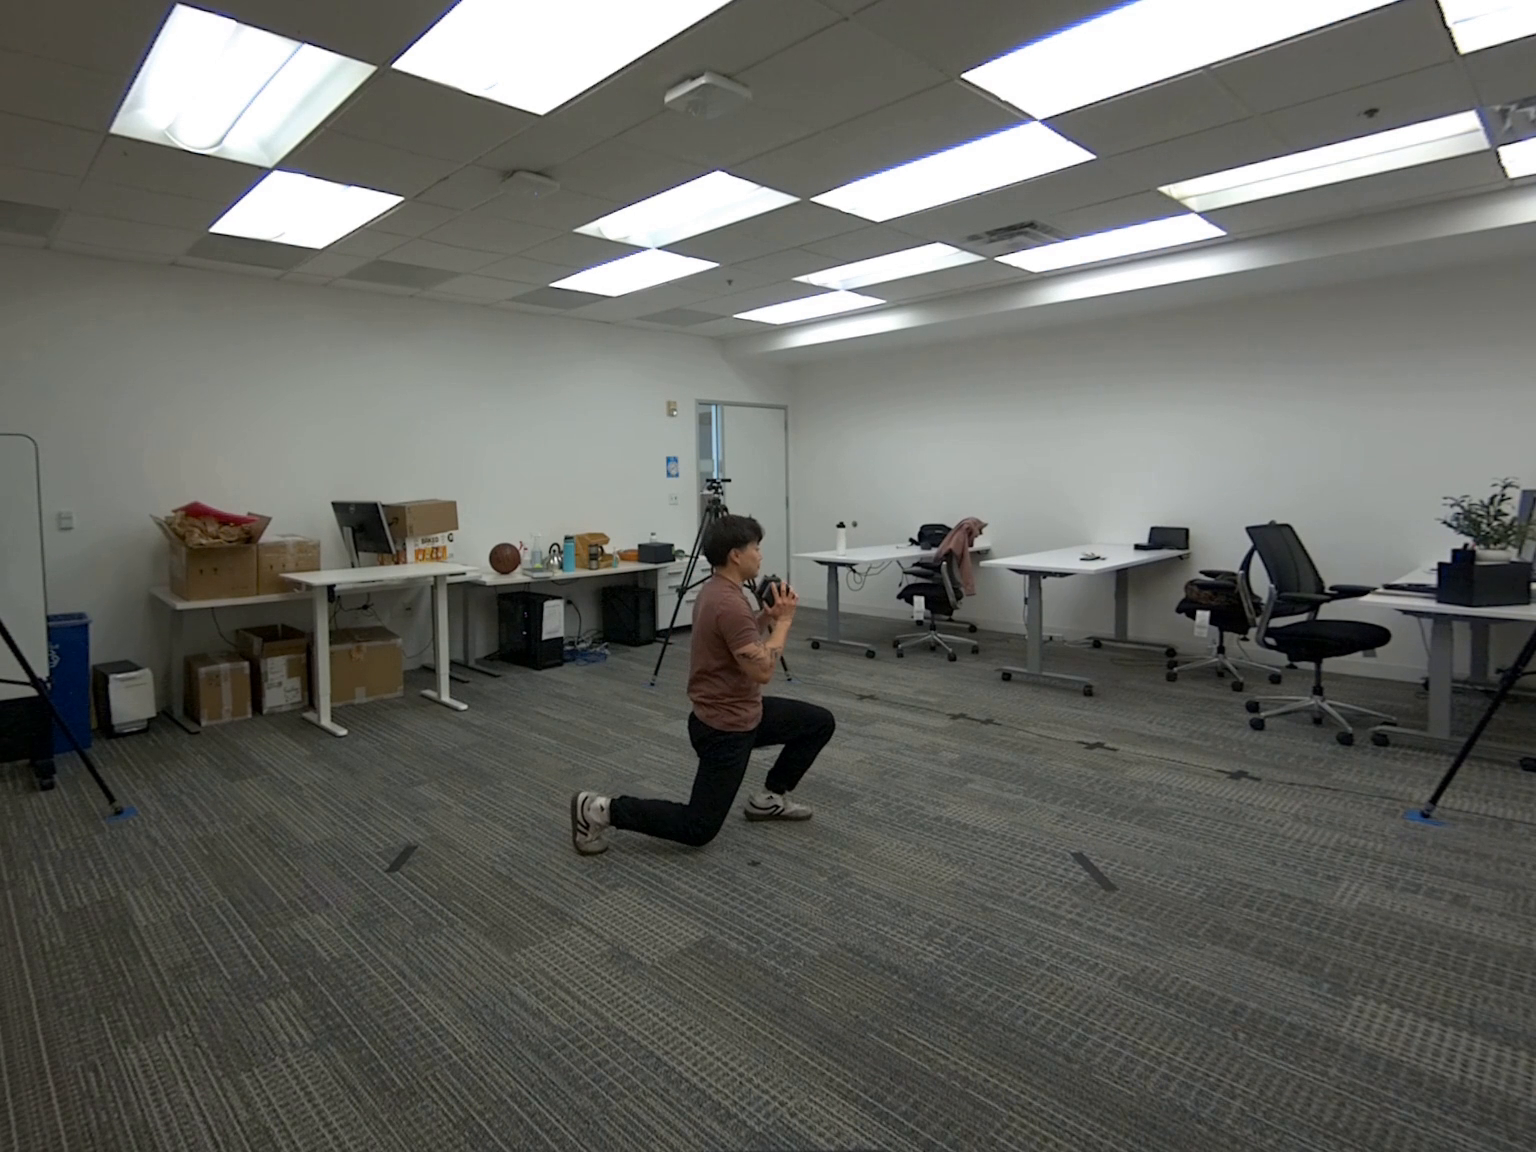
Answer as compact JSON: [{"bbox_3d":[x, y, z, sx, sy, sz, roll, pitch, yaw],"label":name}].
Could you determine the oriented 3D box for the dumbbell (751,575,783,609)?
[{"bbox_3d":[0.002,0.072,3.423,0.123,0.107,0.297,-6,11,-2],"label":"dumbbell"}]
